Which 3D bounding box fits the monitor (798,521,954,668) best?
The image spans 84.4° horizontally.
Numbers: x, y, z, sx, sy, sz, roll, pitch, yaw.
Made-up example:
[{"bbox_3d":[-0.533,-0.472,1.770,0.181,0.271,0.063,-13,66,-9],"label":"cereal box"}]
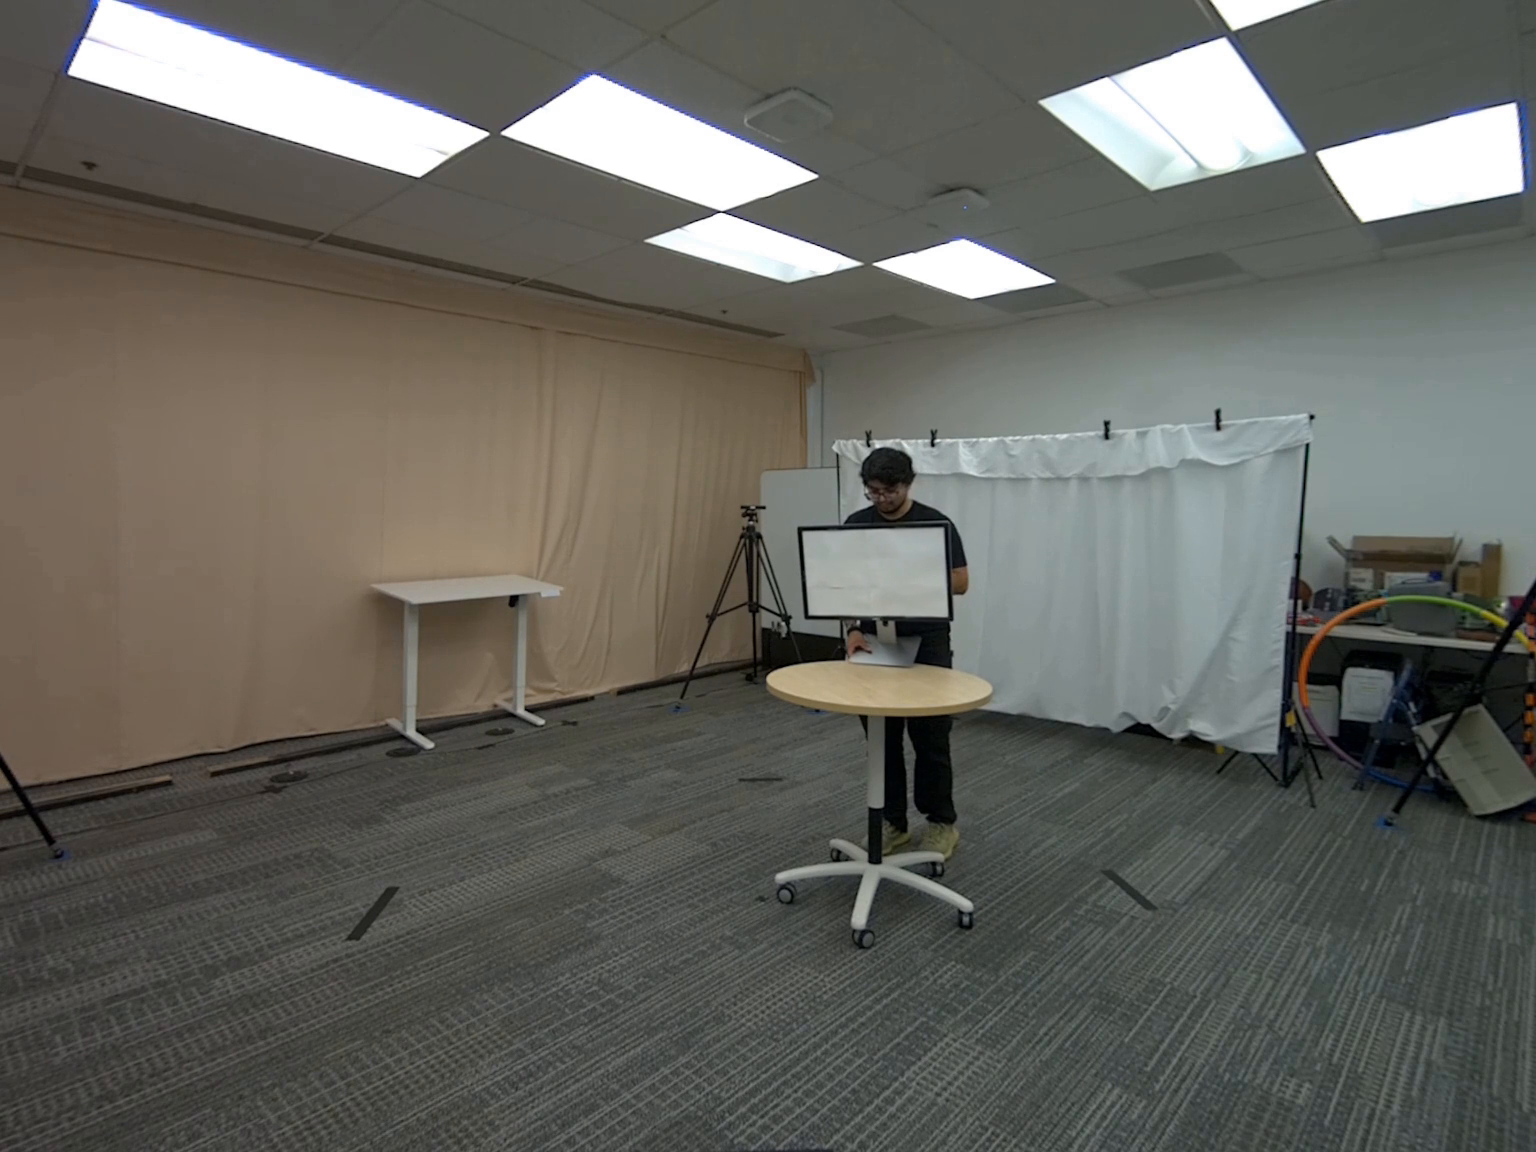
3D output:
[{"bbox_3d":[0.420,0.048,3.196,0.579,0.547,0.208,0,18,24],"label":"monitor"}]
